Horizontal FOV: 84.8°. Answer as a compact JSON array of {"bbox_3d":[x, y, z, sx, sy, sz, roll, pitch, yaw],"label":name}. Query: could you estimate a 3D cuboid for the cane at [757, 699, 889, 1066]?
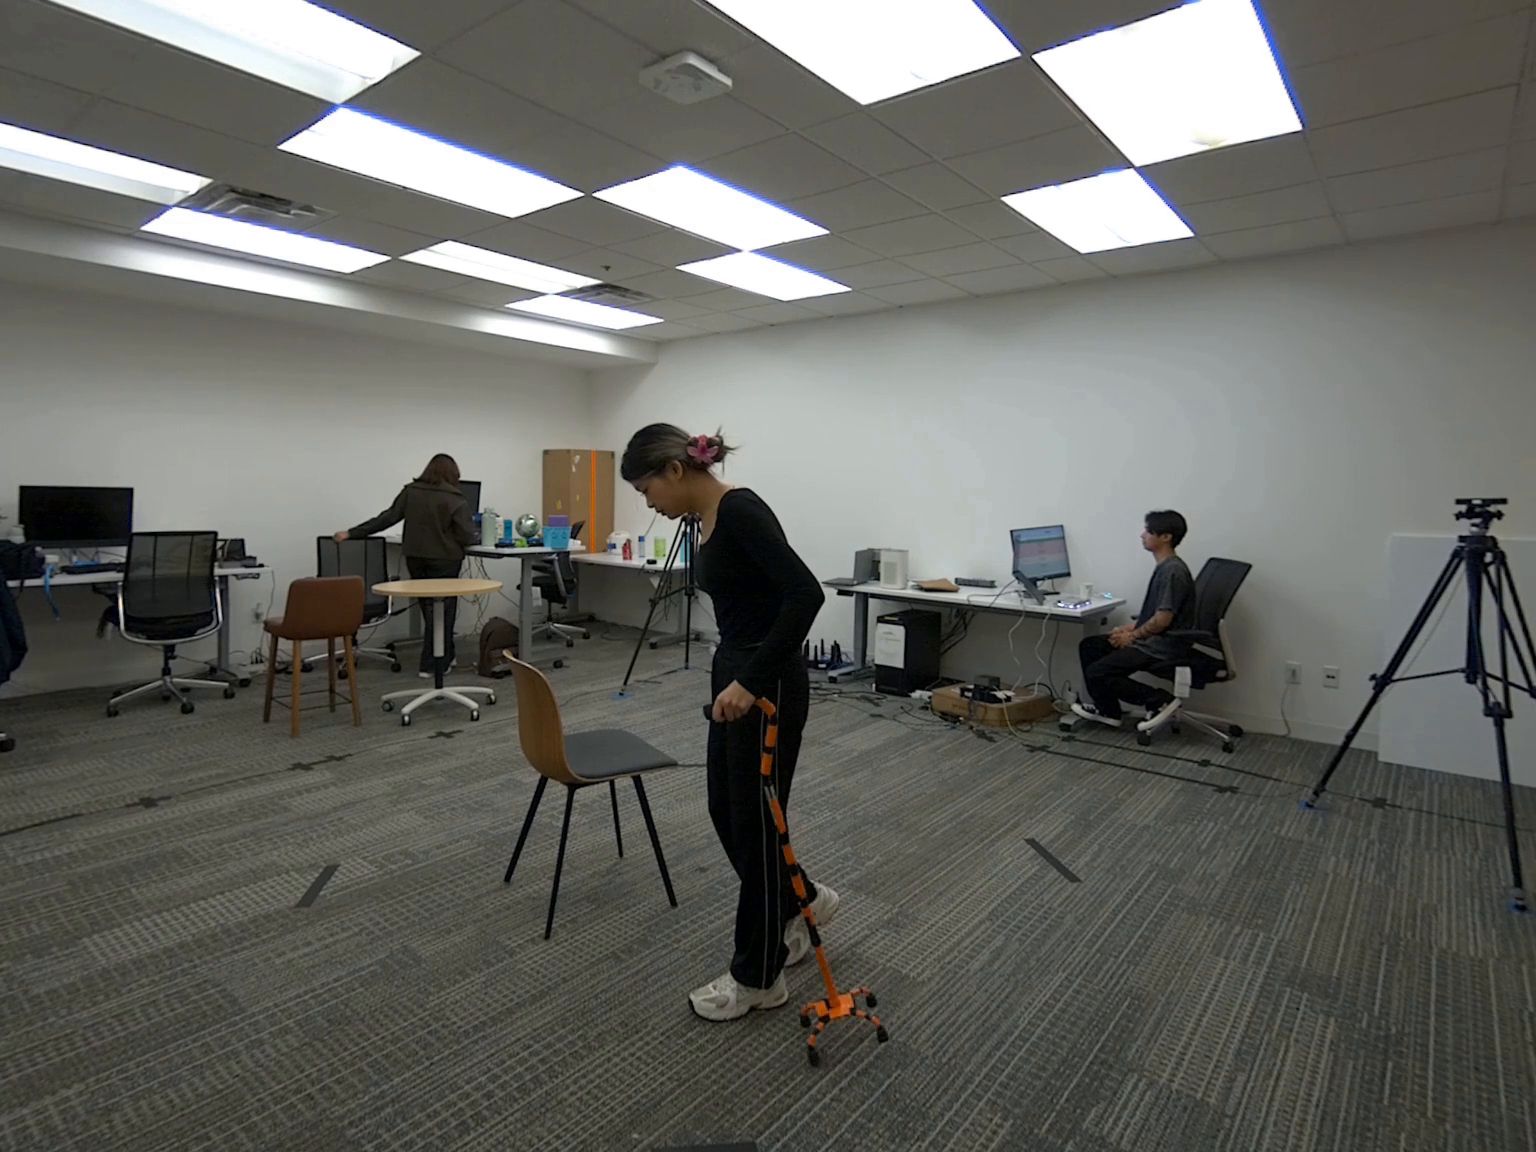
[{"bbox_3d":[0.057,0.711,2.058,0.206,0.898,0.153,-16,8,-3],"label":"cane"}]
